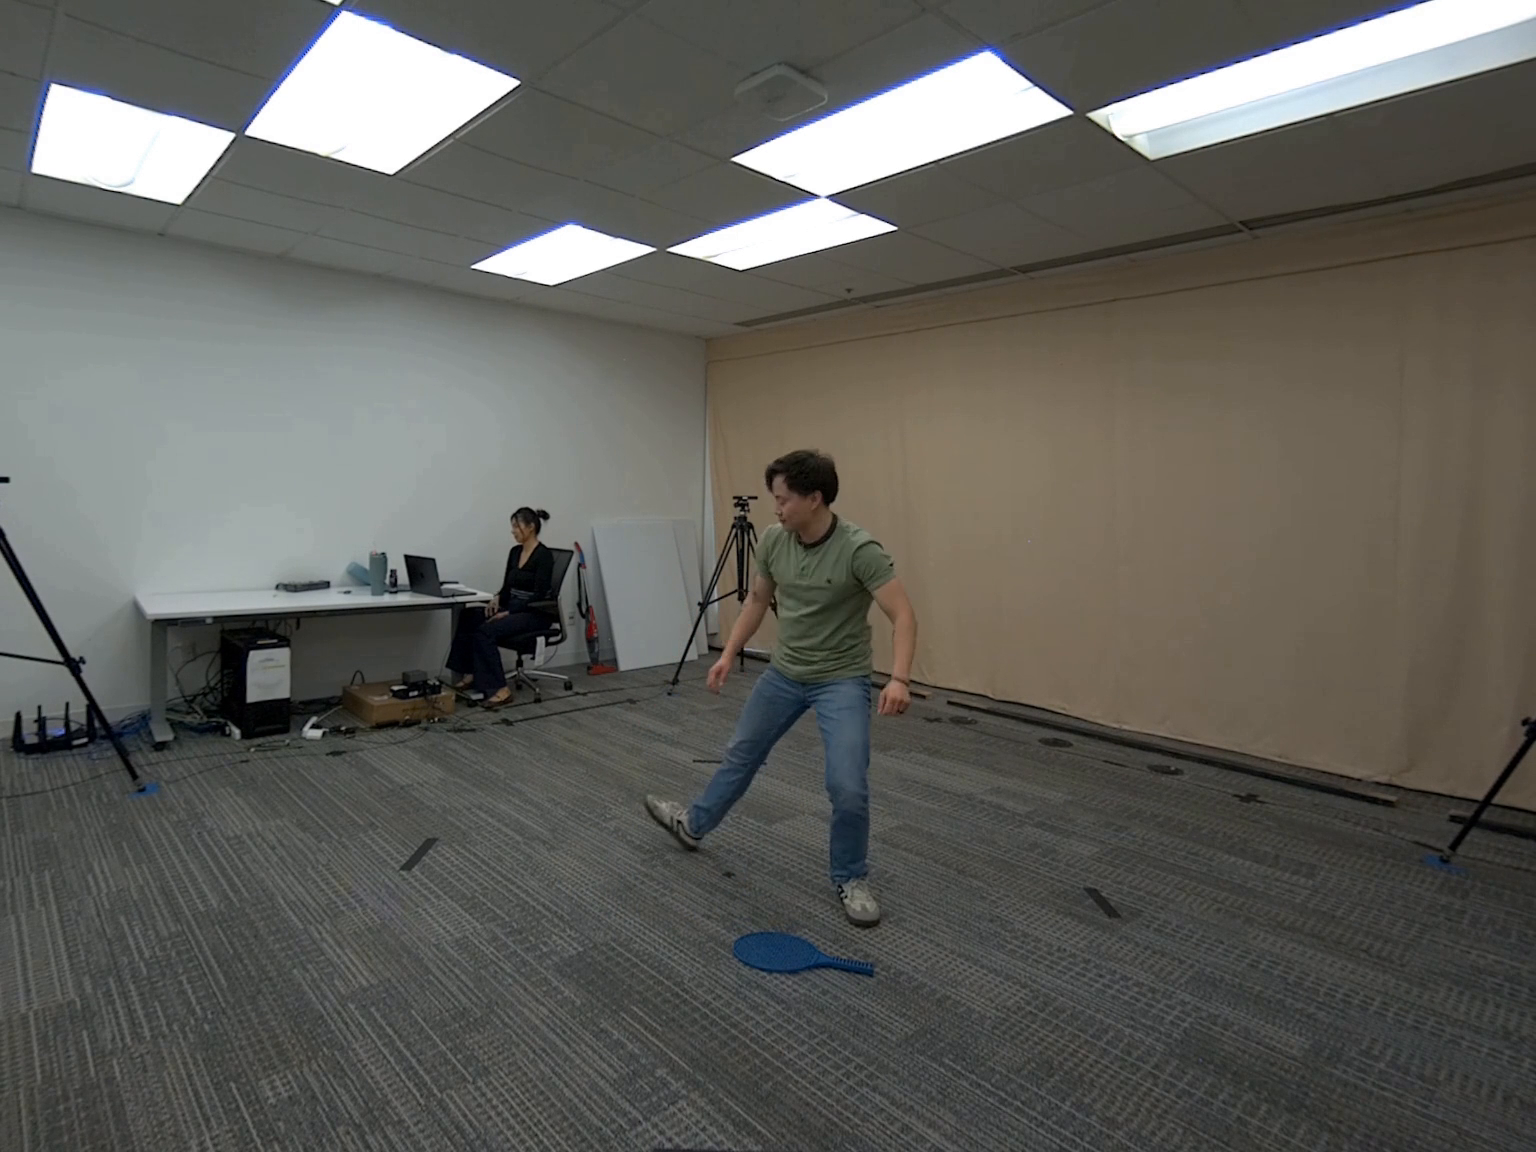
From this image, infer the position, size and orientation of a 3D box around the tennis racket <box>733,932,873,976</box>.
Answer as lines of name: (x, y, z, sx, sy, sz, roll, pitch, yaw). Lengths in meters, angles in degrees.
tennis racket: (0.094, 1.149, 2.540, 0.440, 0.031, 0.211, 2, 6, 20)
